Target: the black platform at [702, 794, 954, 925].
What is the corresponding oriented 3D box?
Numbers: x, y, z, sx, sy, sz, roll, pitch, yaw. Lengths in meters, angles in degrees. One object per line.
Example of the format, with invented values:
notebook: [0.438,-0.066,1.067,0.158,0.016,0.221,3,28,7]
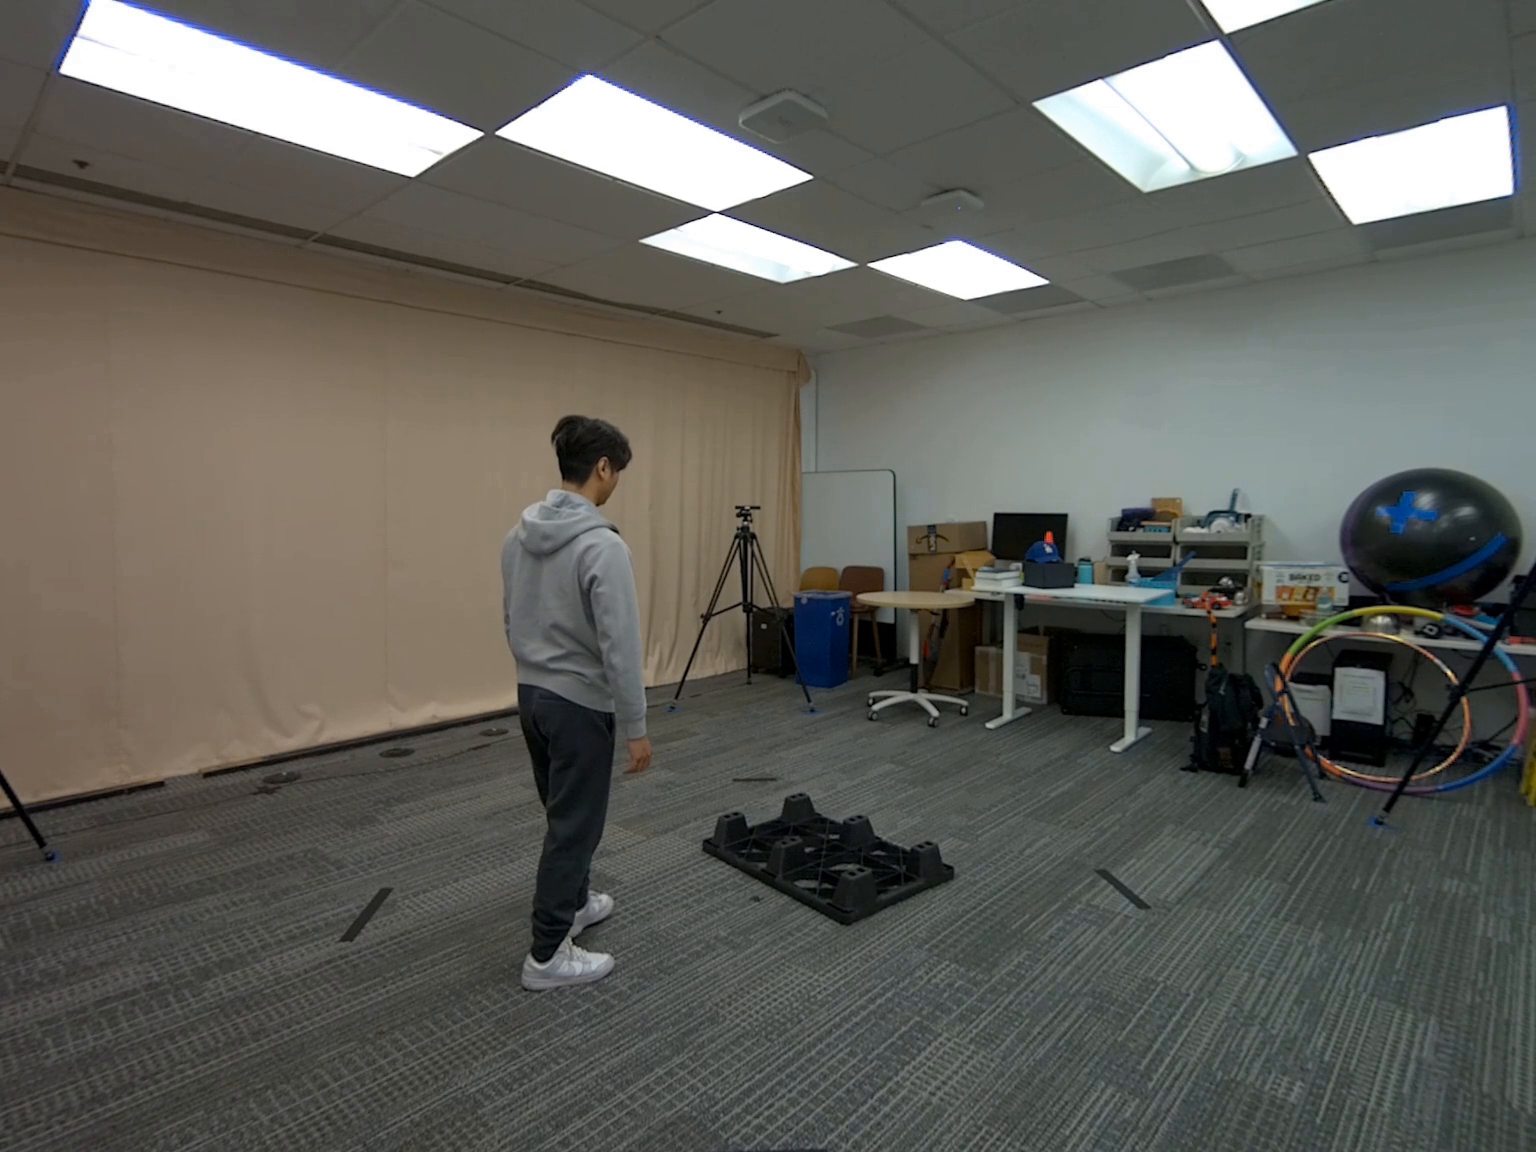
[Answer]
black platform: [0.225,1.053,3.274,0.587,0.143,0.832,-5,7,-41]
